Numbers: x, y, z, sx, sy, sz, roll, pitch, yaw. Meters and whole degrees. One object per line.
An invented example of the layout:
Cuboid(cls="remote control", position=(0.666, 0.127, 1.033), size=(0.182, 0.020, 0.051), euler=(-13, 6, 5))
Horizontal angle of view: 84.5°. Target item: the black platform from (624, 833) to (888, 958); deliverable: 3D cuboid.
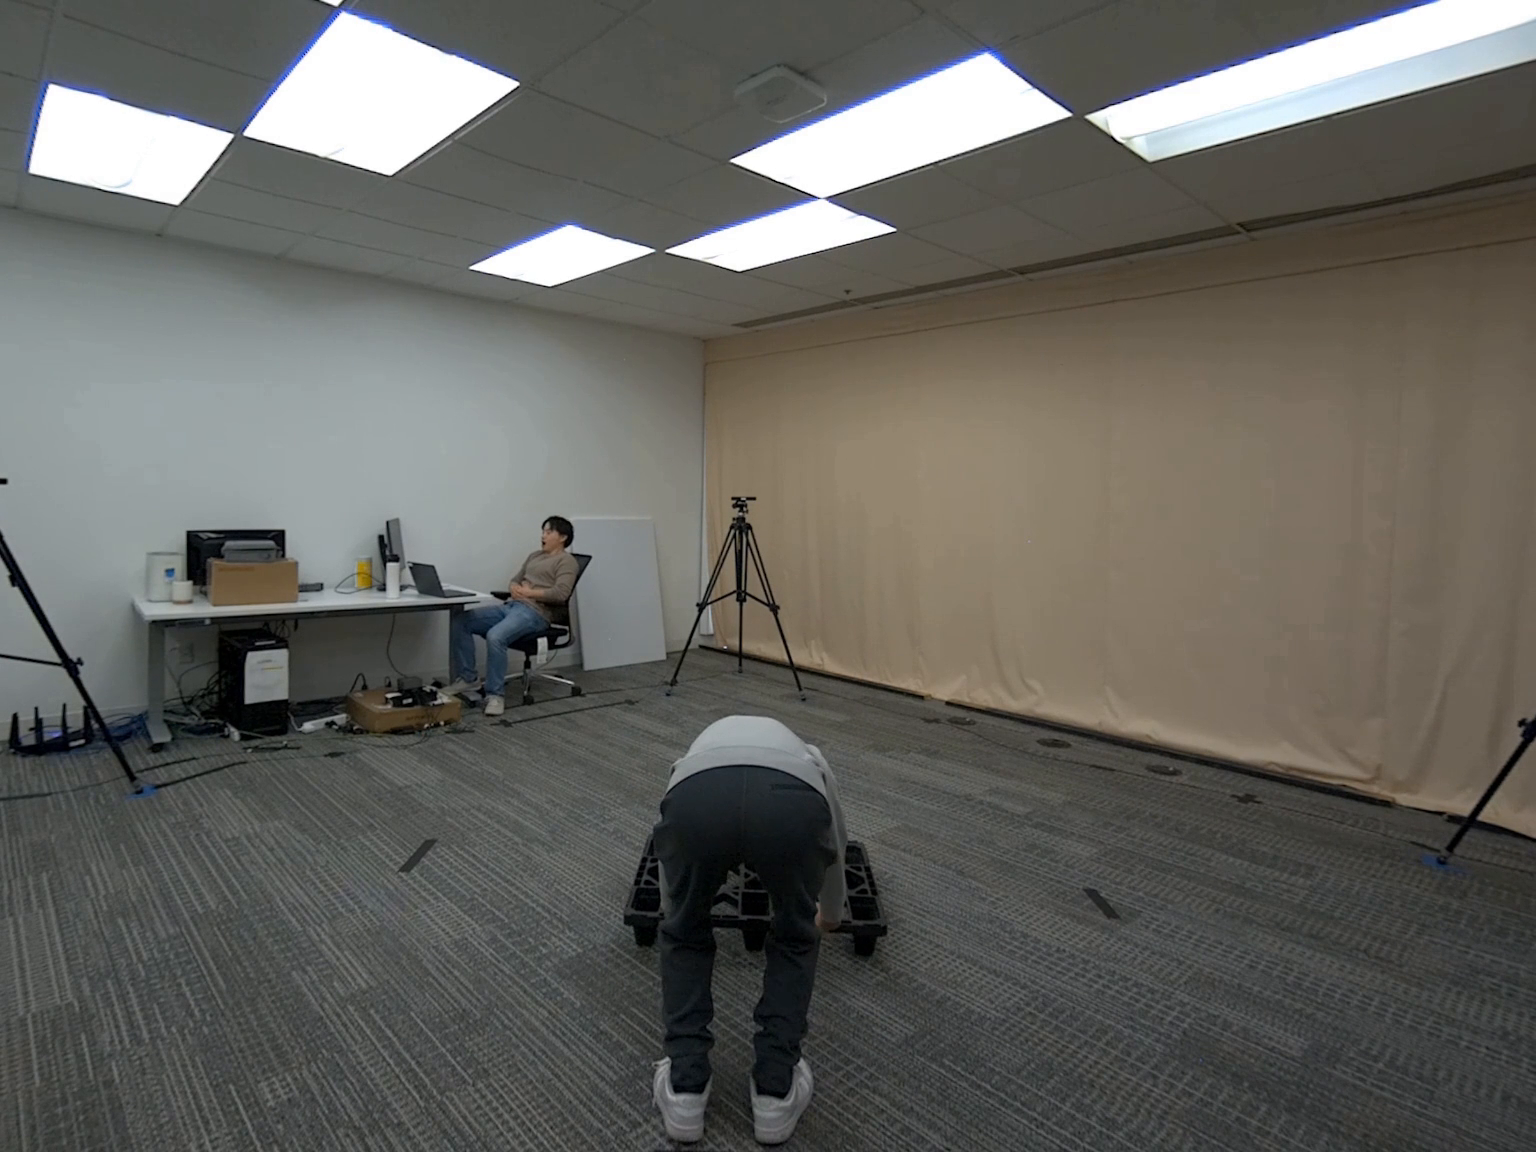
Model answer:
Cuboid(cls="black platform", position=(-0.052, 1.062, 2.825), size=(0.807, 0.143, 0.606), euler=(2, 5, 1))
